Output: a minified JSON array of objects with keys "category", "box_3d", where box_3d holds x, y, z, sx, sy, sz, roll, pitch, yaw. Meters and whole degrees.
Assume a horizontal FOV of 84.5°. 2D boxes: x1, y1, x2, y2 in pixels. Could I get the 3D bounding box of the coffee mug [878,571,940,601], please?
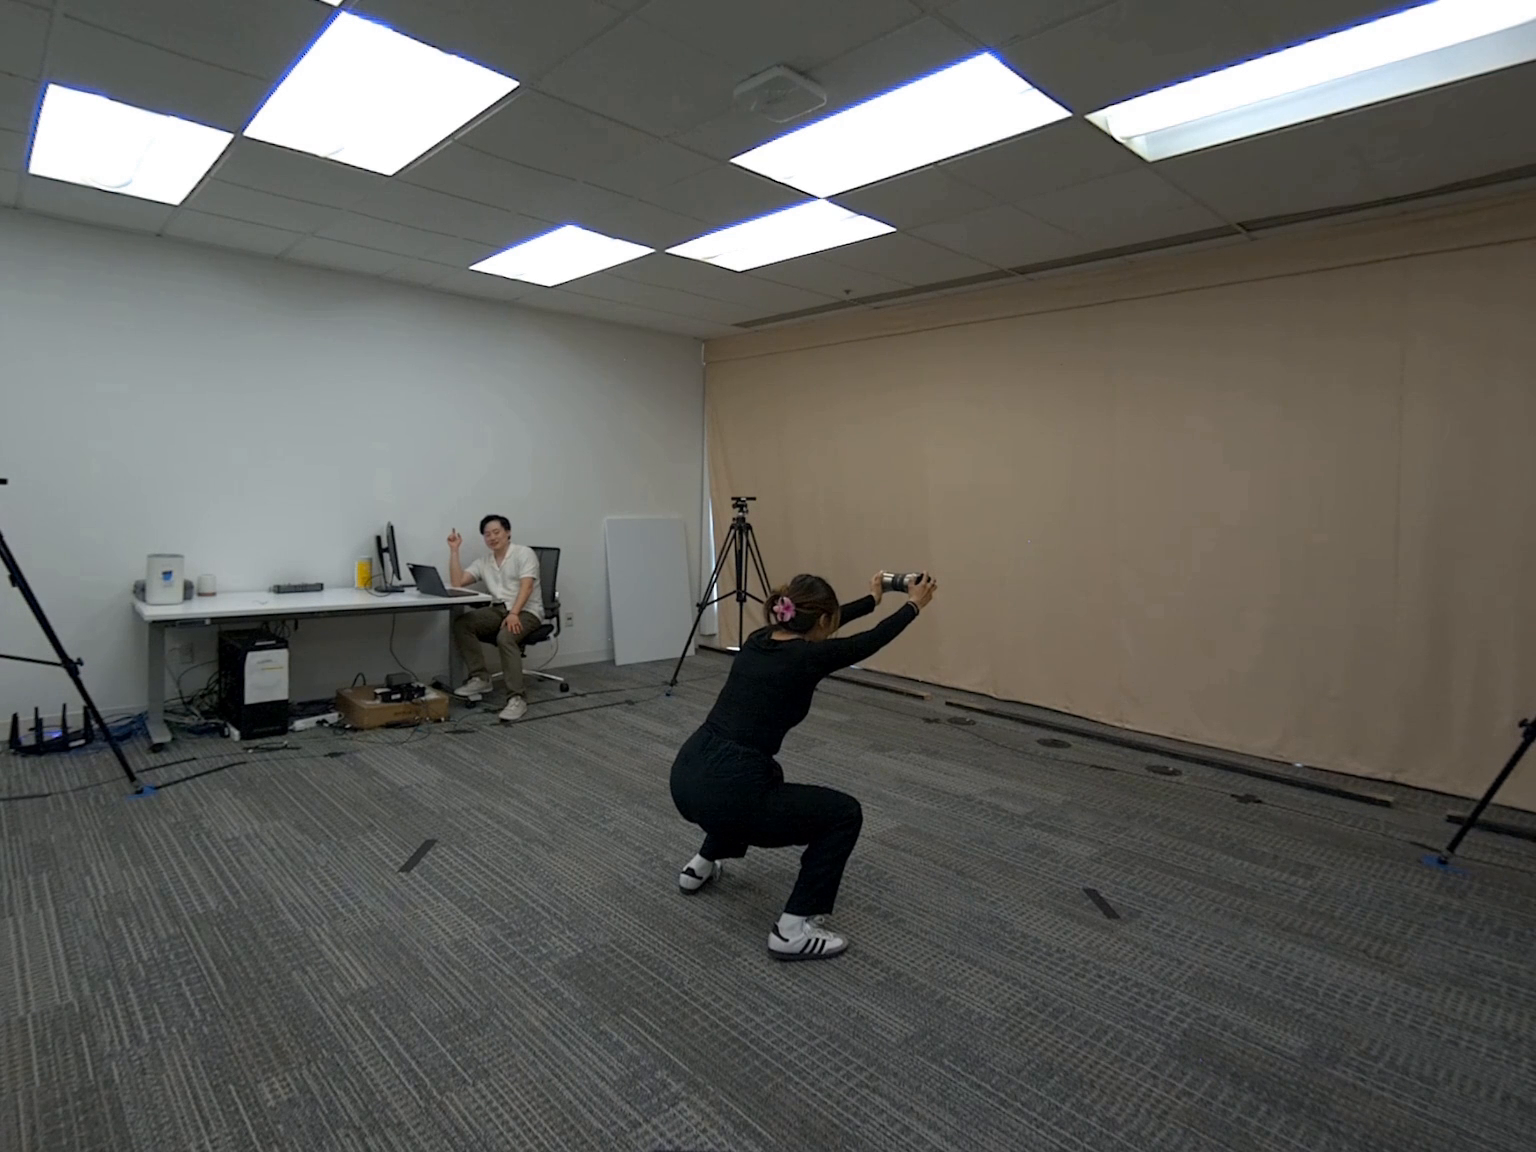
[{"category":"coffee mug","box_3d":[0.530,0.035,3.230,0.119,0.088,0.208,5,1,-36]}]
